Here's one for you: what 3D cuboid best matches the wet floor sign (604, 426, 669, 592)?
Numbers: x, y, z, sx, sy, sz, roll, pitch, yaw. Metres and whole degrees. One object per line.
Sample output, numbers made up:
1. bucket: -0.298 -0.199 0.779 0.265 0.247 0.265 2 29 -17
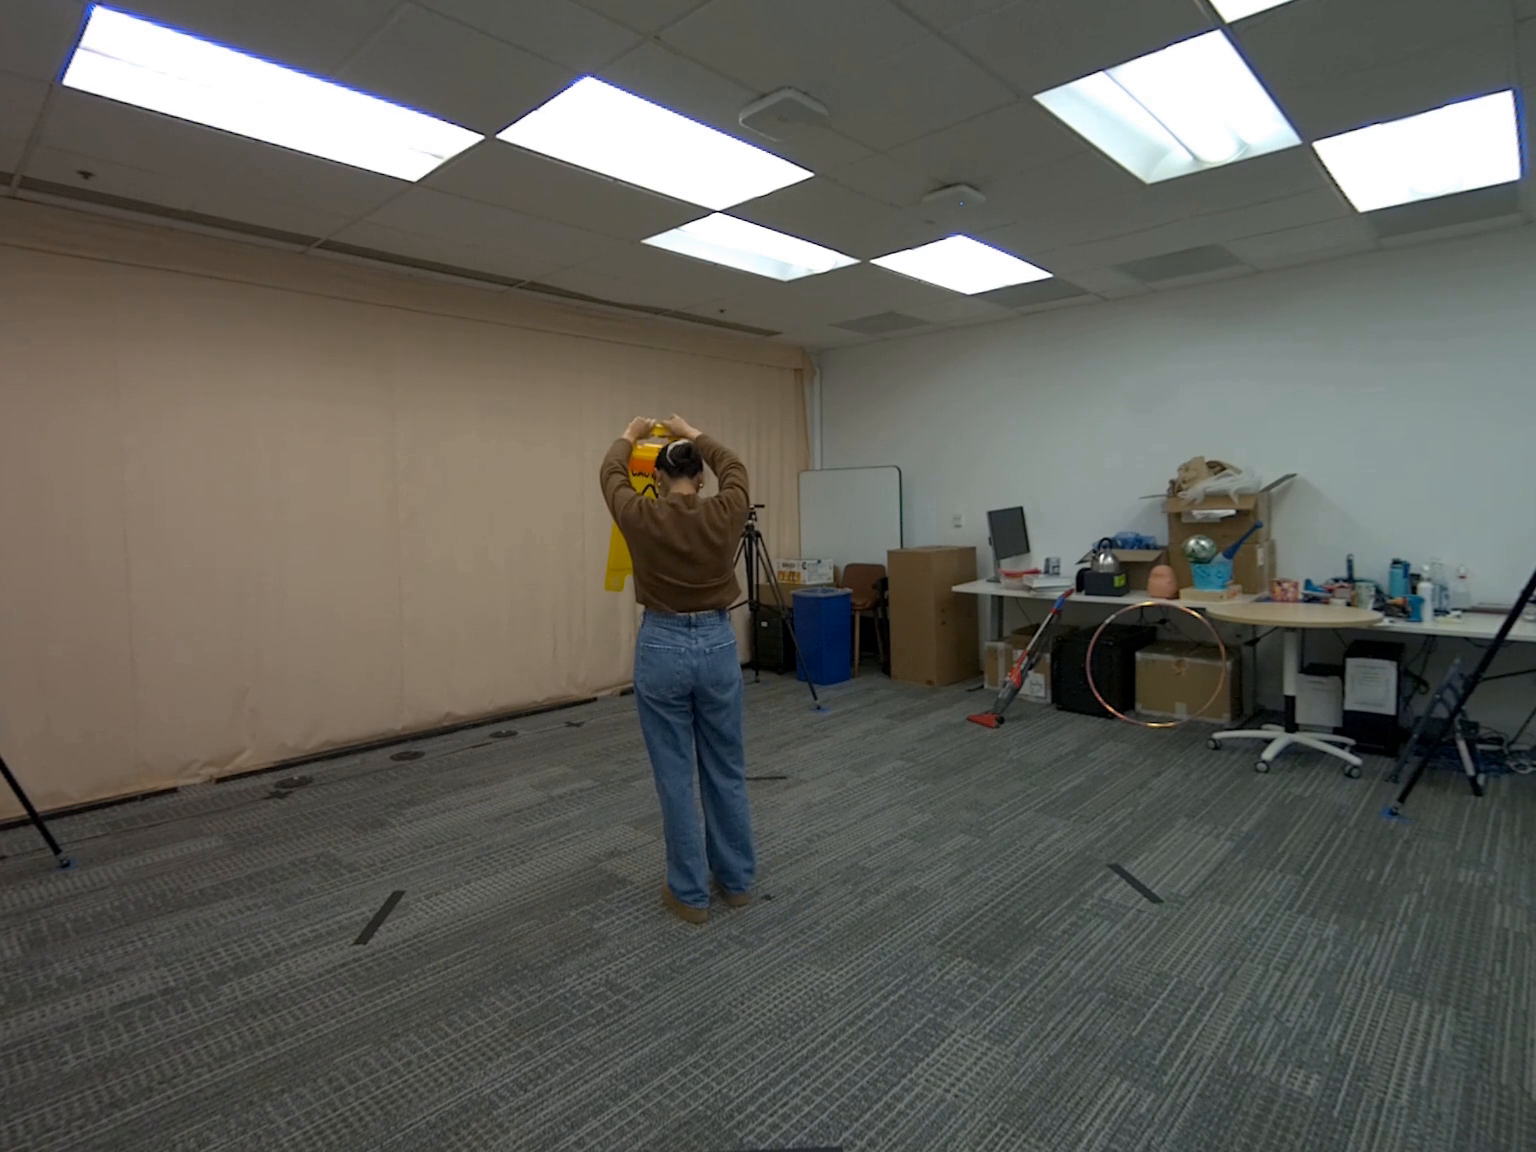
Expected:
1. wet floor sign: -0.439 -0.265 3.289 0.282 0.638 0.294 6 26 -3
